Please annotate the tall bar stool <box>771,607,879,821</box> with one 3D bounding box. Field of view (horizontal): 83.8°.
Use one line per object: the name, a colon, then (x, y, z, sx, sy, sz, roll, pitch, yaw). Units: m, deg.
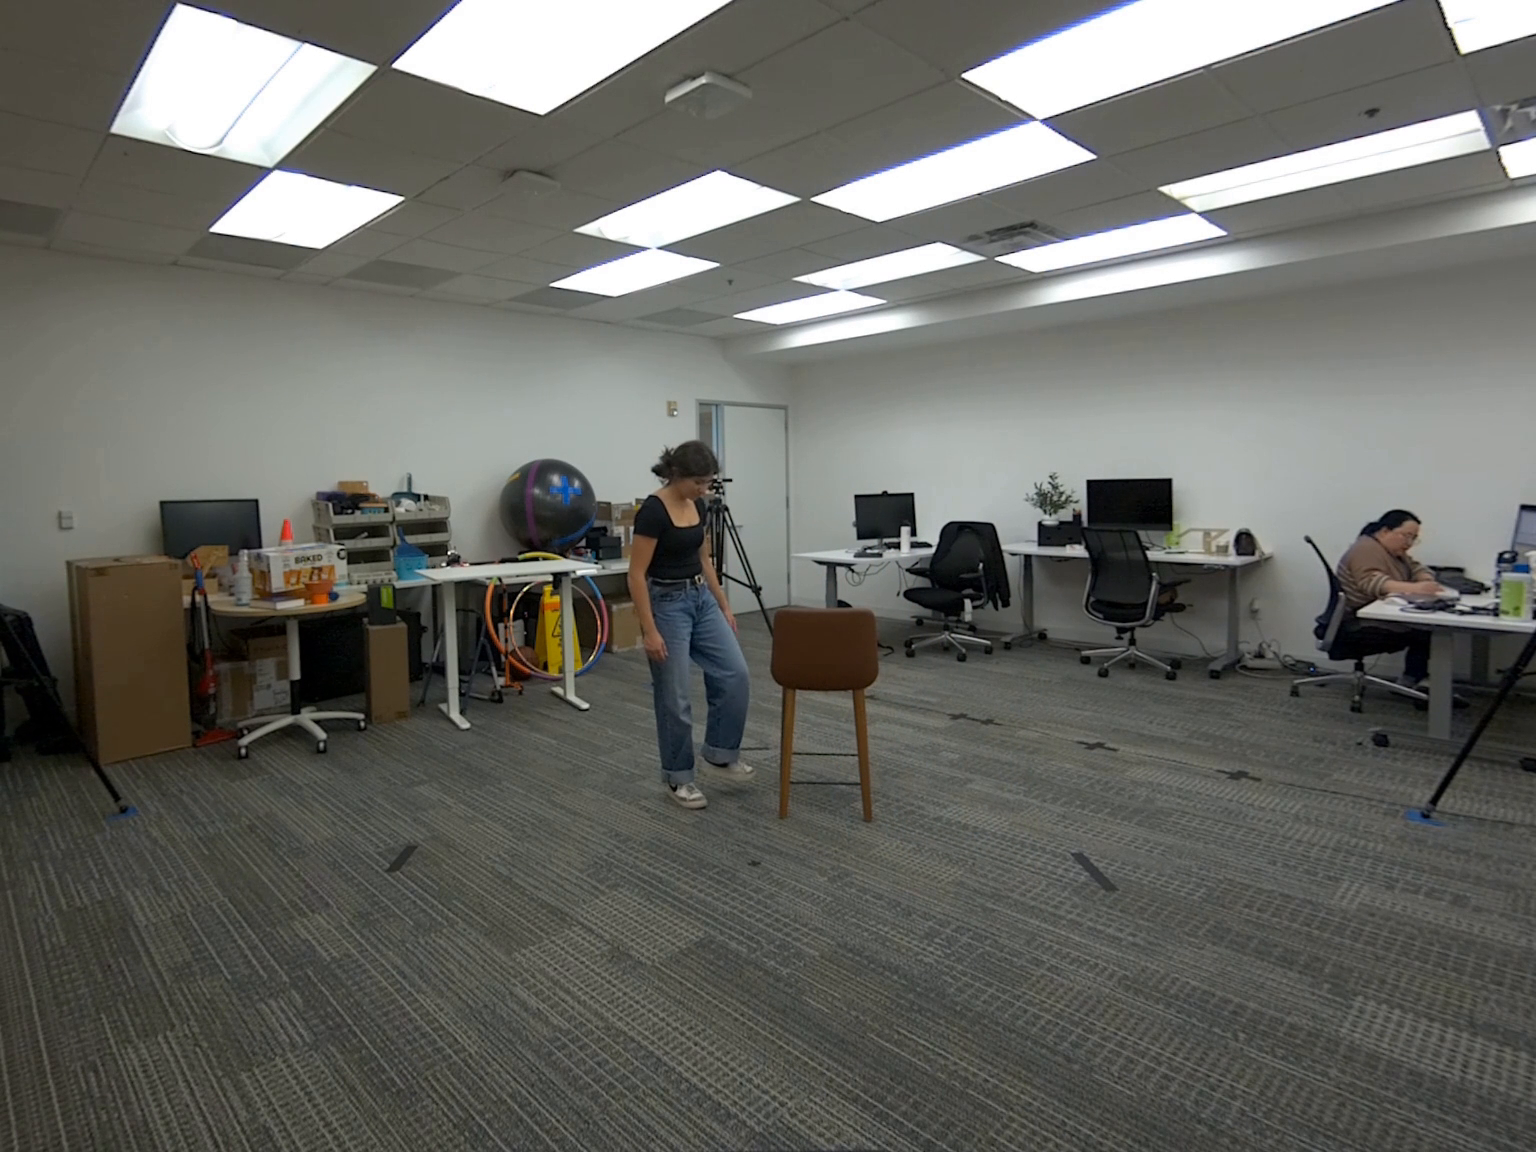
tall bar stool: (0.246, 0.543, 3.675, 0.460, 0.885, 0.467, 0, 6, 7)
